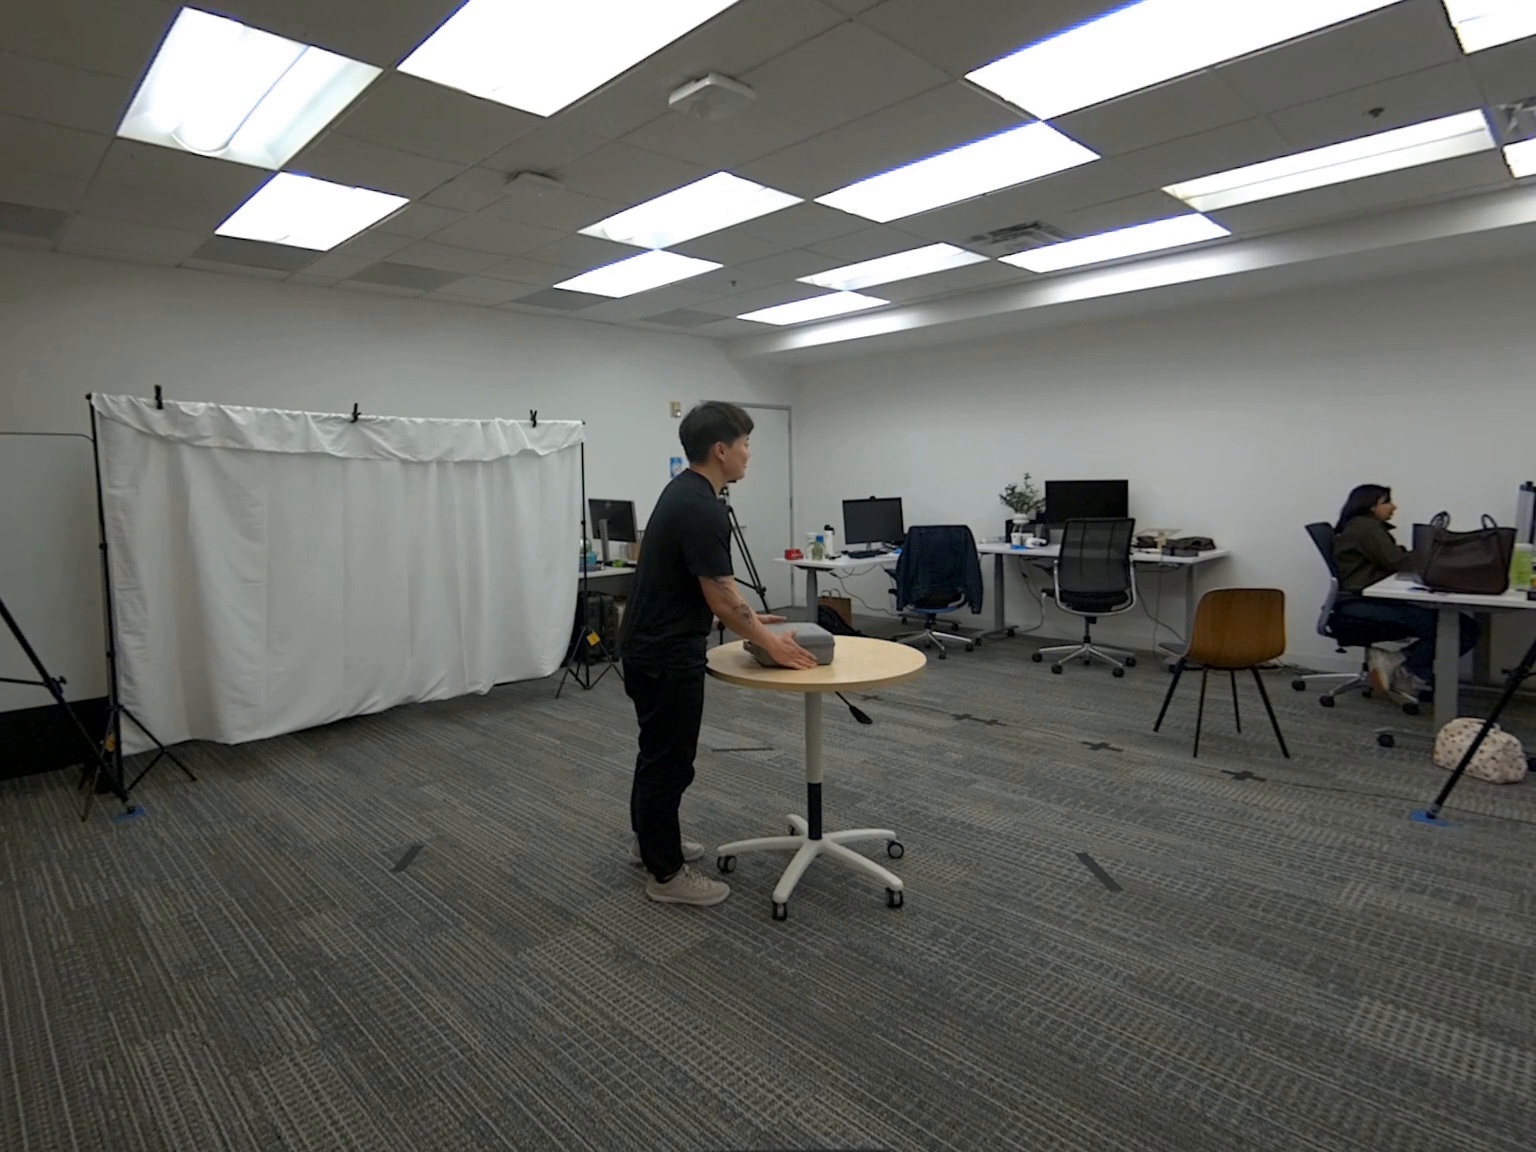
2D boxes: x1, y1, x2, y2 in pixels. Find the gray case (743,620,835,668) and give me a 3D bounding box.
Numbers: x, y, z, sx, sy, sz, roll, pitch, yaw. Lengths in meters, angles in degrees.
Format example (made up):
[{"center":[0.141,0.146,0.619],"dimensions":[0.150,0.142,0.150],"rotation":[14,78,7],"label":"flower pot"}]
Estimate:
[{"center":[0.060,0.232,2.903],"dimensions":[0.258,0.104,0.261],"rotation":[-1,7,-11],"label":"gray case"}]
